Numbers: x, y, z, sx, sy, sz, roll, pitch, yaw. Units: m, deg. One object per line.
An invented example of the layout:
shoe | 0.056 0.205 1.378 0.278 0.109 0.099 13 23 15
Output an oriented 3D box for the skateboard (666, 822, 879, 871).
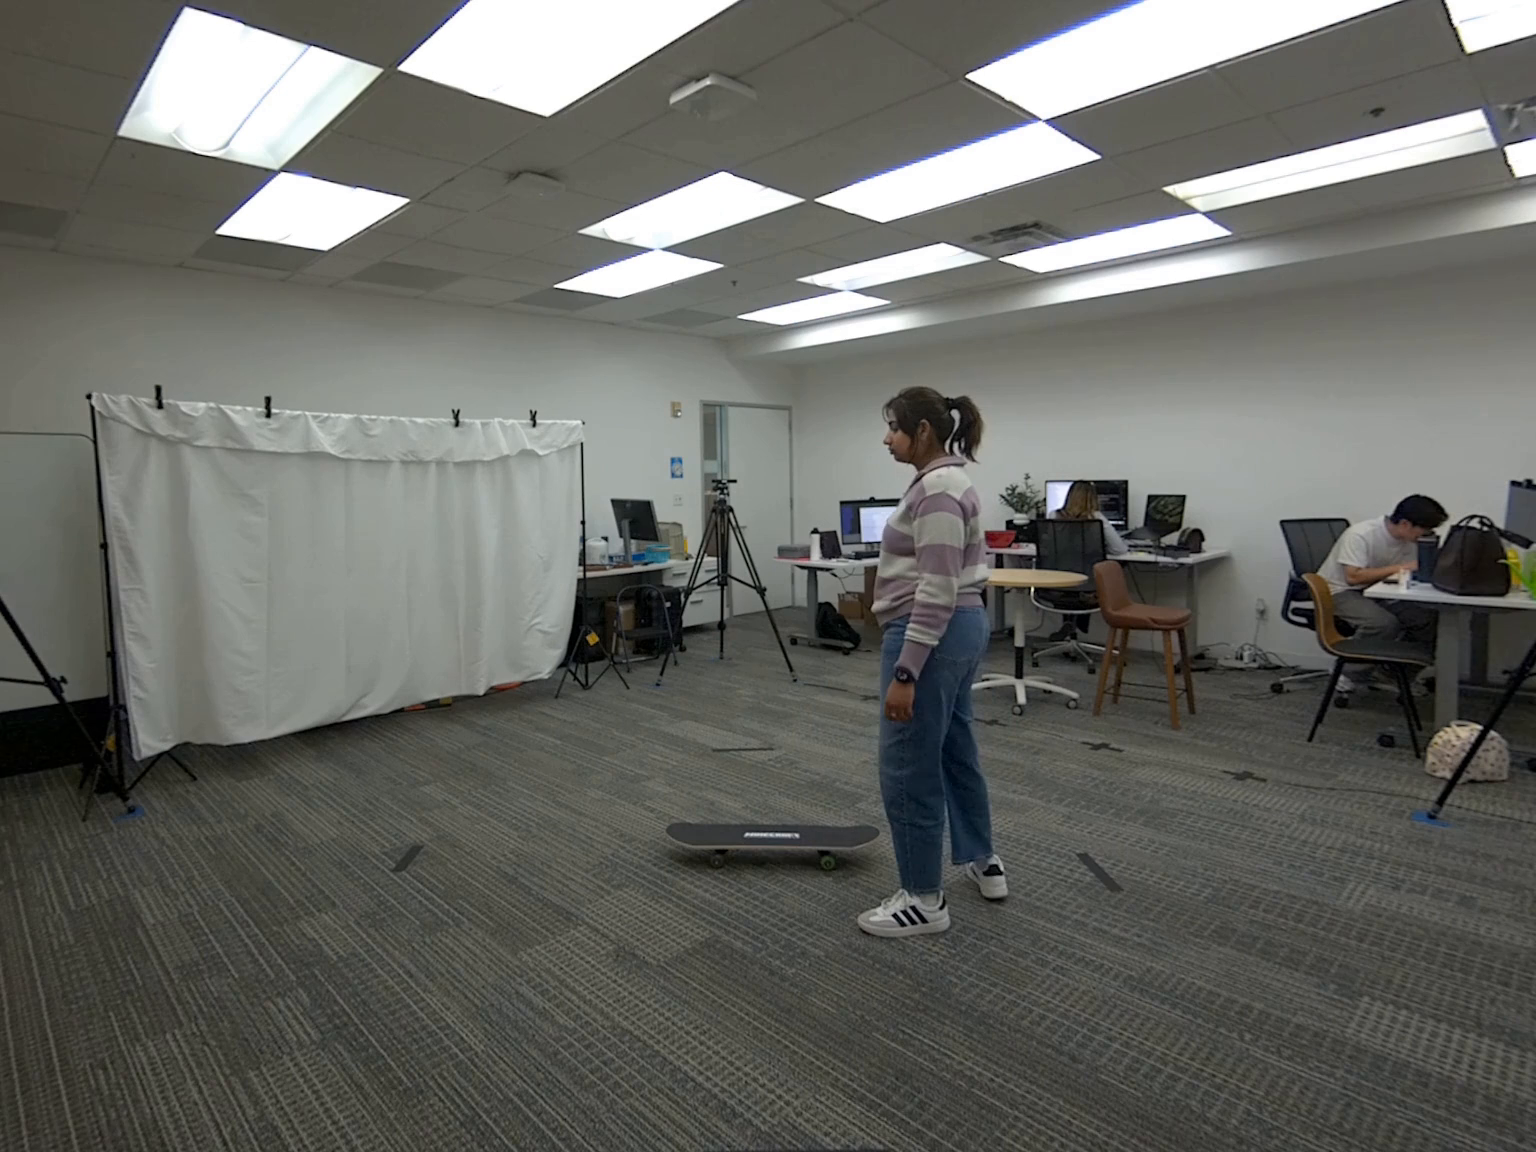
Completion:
skateboard | 0.019 0.983 3.139 0.789 0.110 0.193 0 6 5
